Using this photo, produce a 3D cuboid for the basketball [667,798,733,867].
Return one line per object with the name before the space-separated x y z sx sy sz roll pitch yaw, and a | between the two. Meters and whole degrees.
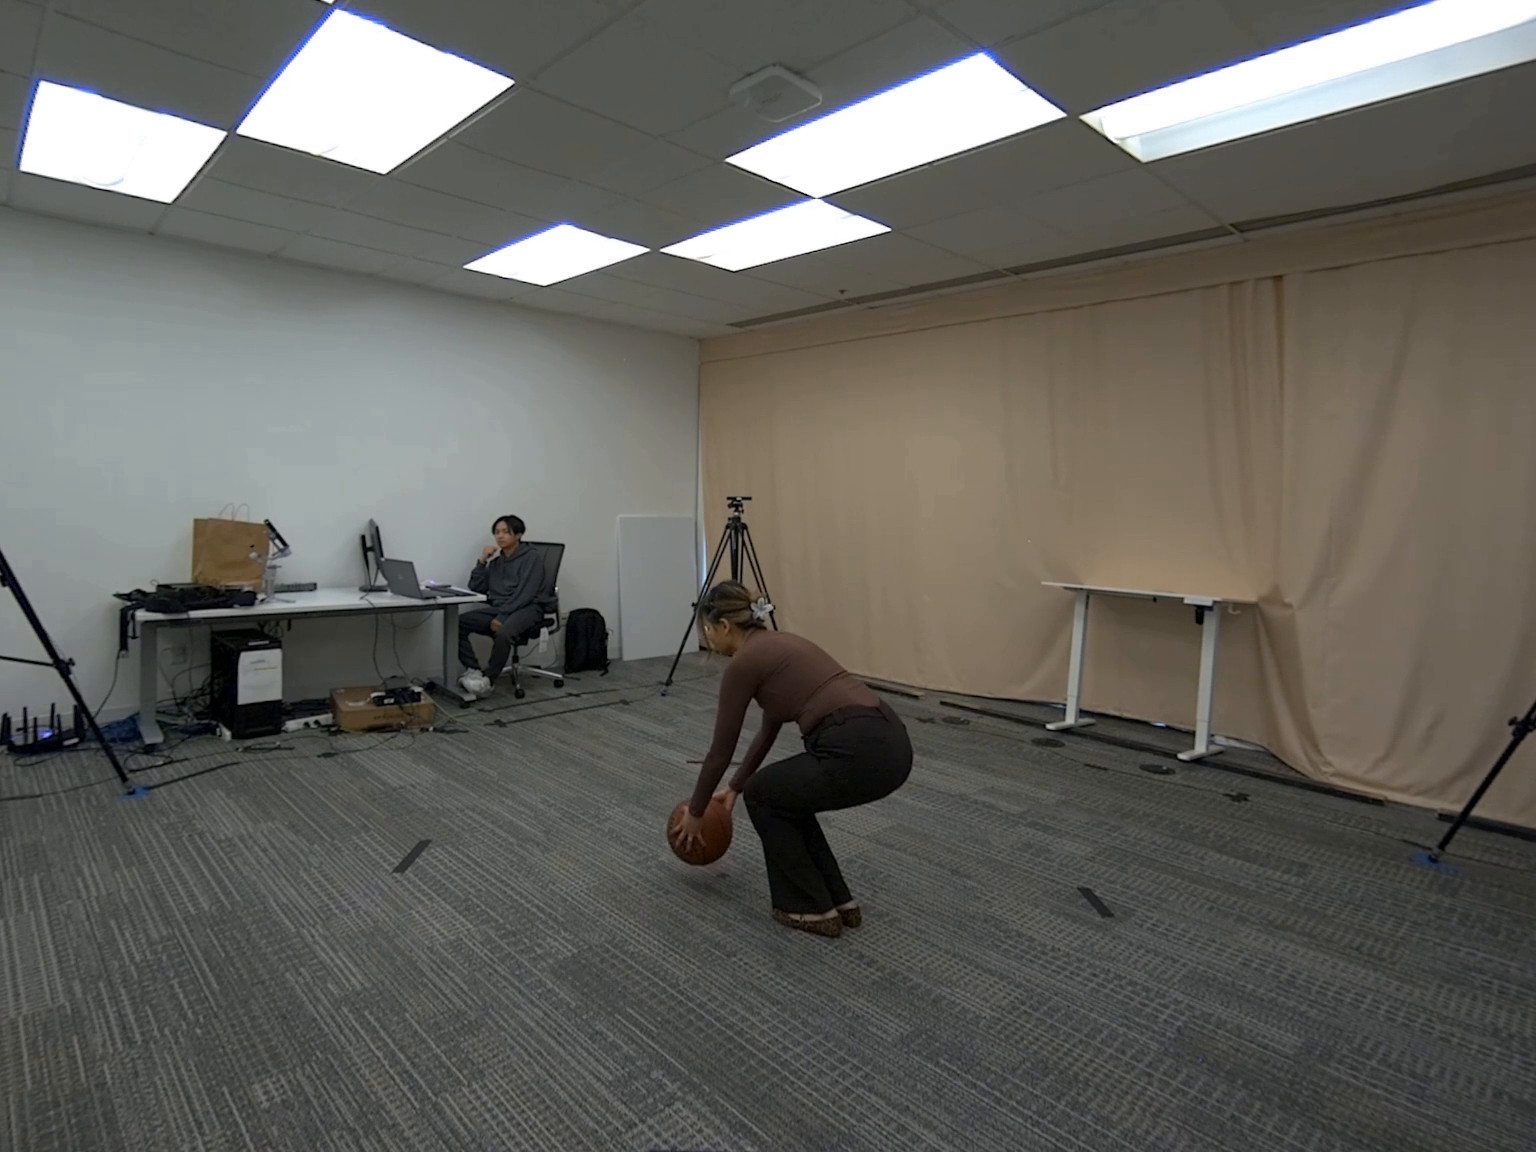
basketball | -0.251 0.900 3.029 0.236 0.235 0.237 1 4 -1
